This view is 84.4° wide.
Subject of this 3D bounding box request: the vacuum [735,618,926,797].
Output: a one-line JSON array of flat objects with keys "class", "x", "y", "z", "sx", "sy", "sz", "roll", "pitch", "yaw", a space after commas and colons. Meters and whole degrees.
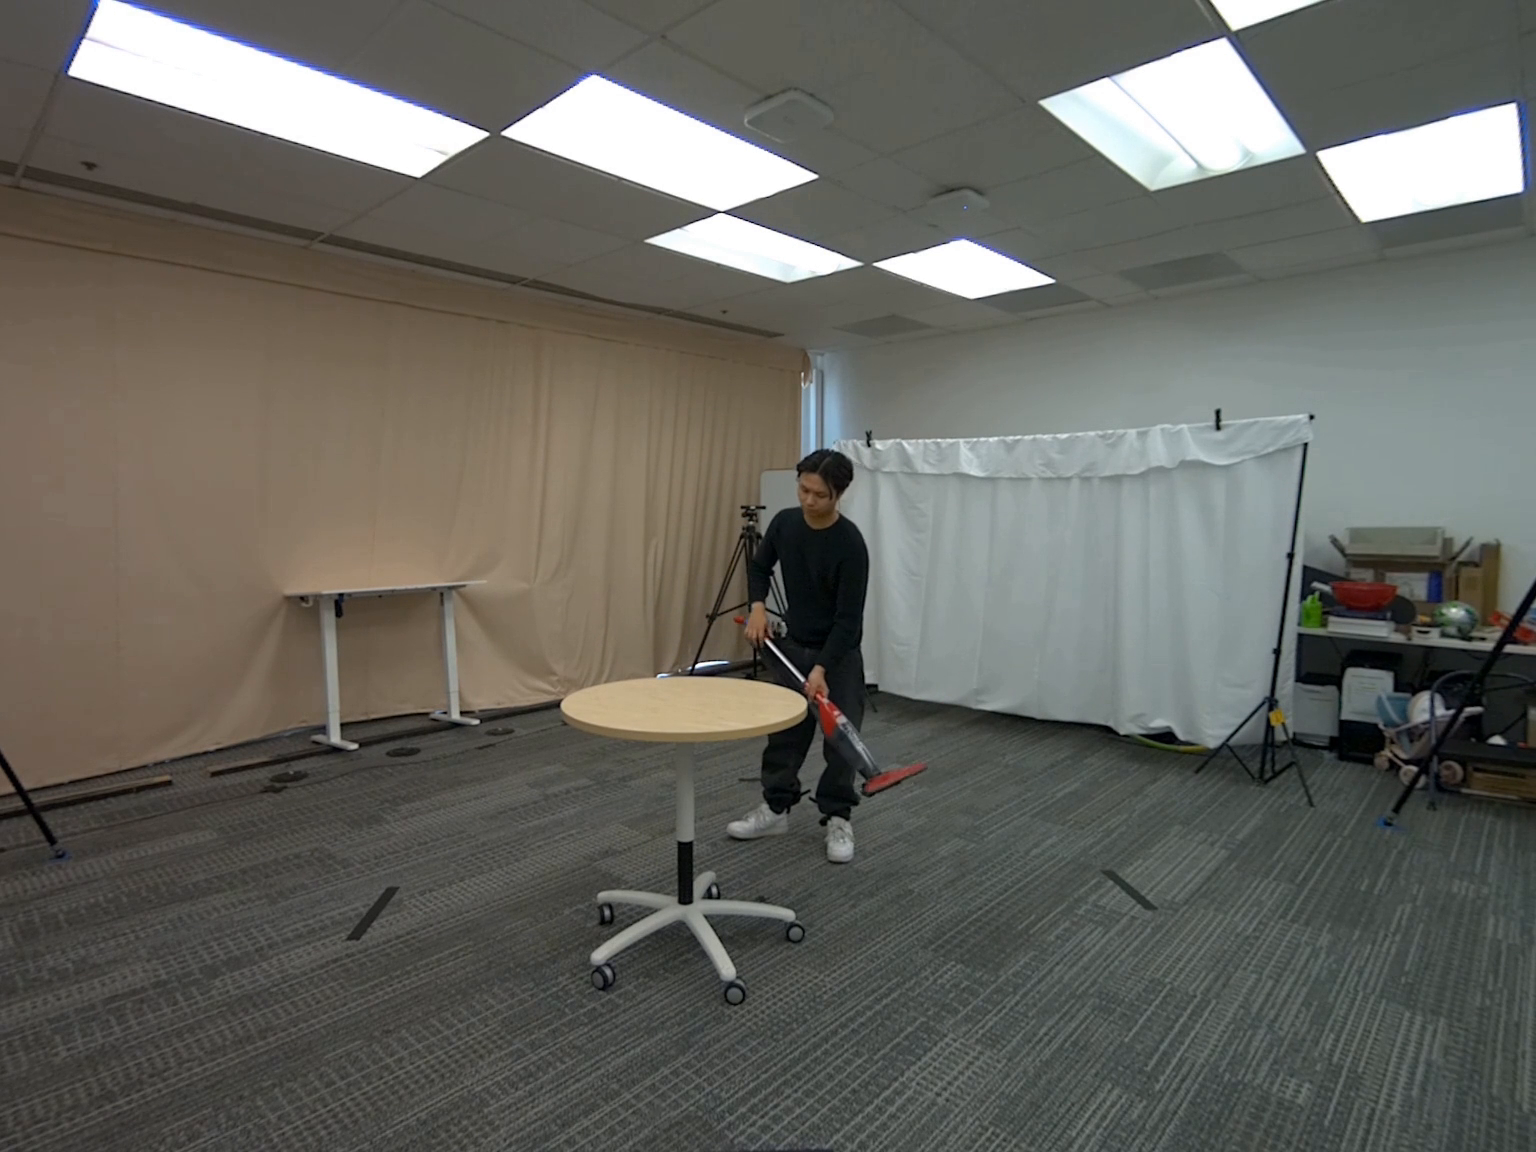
[{"class": "vacuum", "x": 0.129, "y": 0.437, "z": 3.230, "sx": 0.249, "sy": 0.141, "sz": 1.088, "roll": -23, "pitch": 39, "yaw": -21}]
